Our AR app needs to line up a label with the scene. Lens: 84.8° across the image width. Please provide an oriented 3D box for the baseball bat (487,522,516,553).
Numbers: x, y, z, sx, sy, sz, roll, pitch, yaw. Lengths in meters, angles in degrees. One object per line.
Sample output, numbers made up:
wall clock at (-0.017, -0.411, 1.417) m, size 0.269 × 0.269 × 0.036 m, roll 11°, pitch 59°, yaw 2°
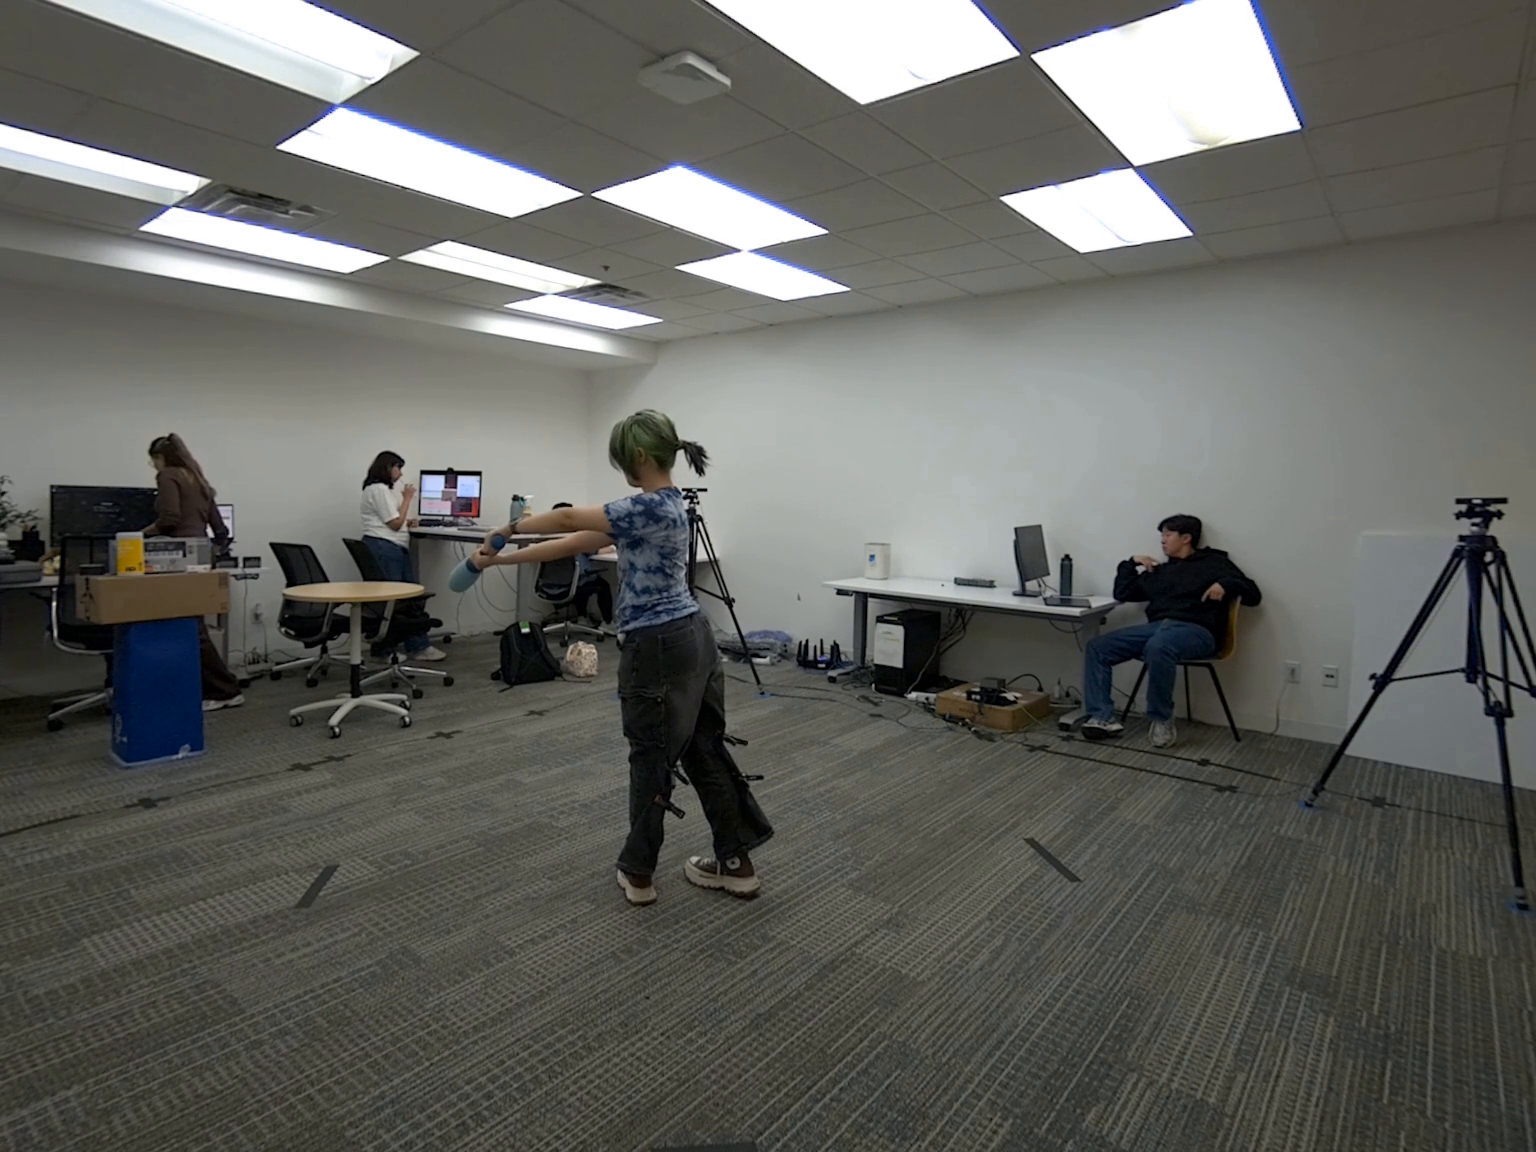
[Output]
baseball bat at (-1.061, -0.045, 3.049) m, size 0.086 × 0.090 × 0.549 m, roll -1°, pitch -15°, yaw -32°
